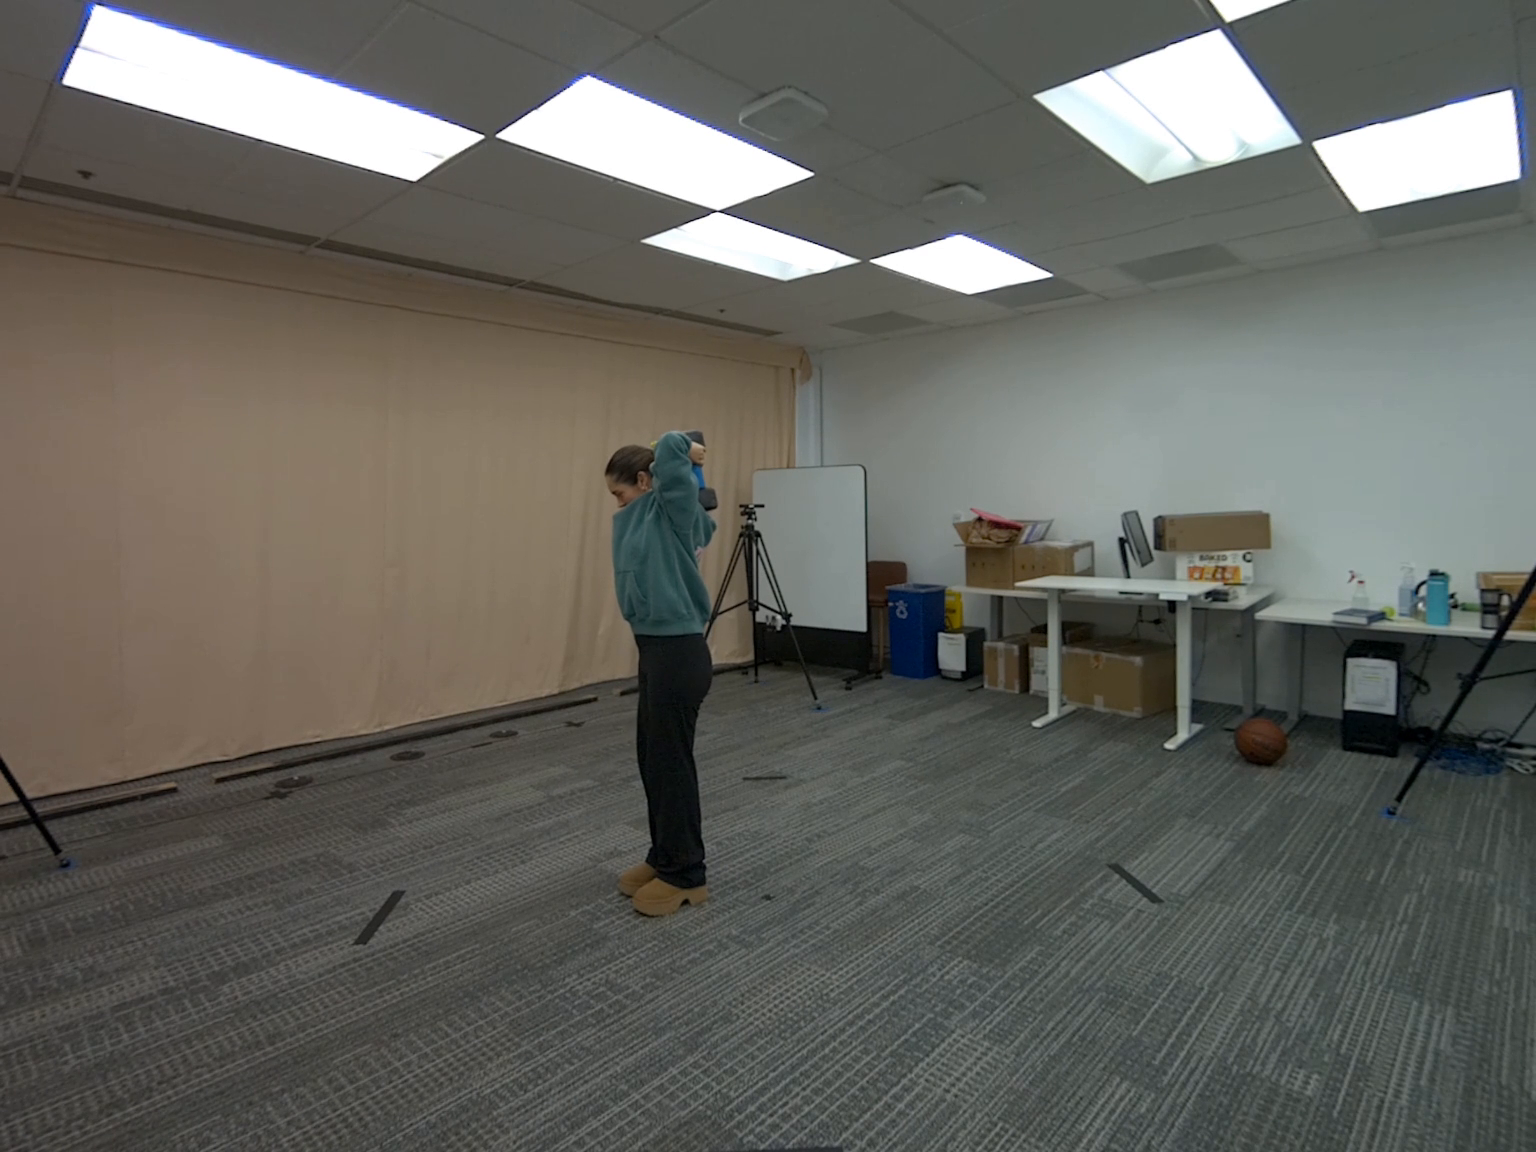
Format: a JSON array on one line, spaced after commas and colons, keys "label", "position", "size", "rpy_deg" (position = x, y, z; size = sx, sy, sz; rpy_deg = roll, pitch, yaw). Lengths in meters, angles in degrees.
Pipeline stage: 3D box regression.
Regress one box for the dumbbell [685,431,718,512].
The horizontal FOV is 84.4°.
[{"label": "dumbbell", "position": [-0.268, -0.369, 3.003], "size": [0.121, 0.293, 0.111], "rpy_deg": [-17, 2, -22]}]
